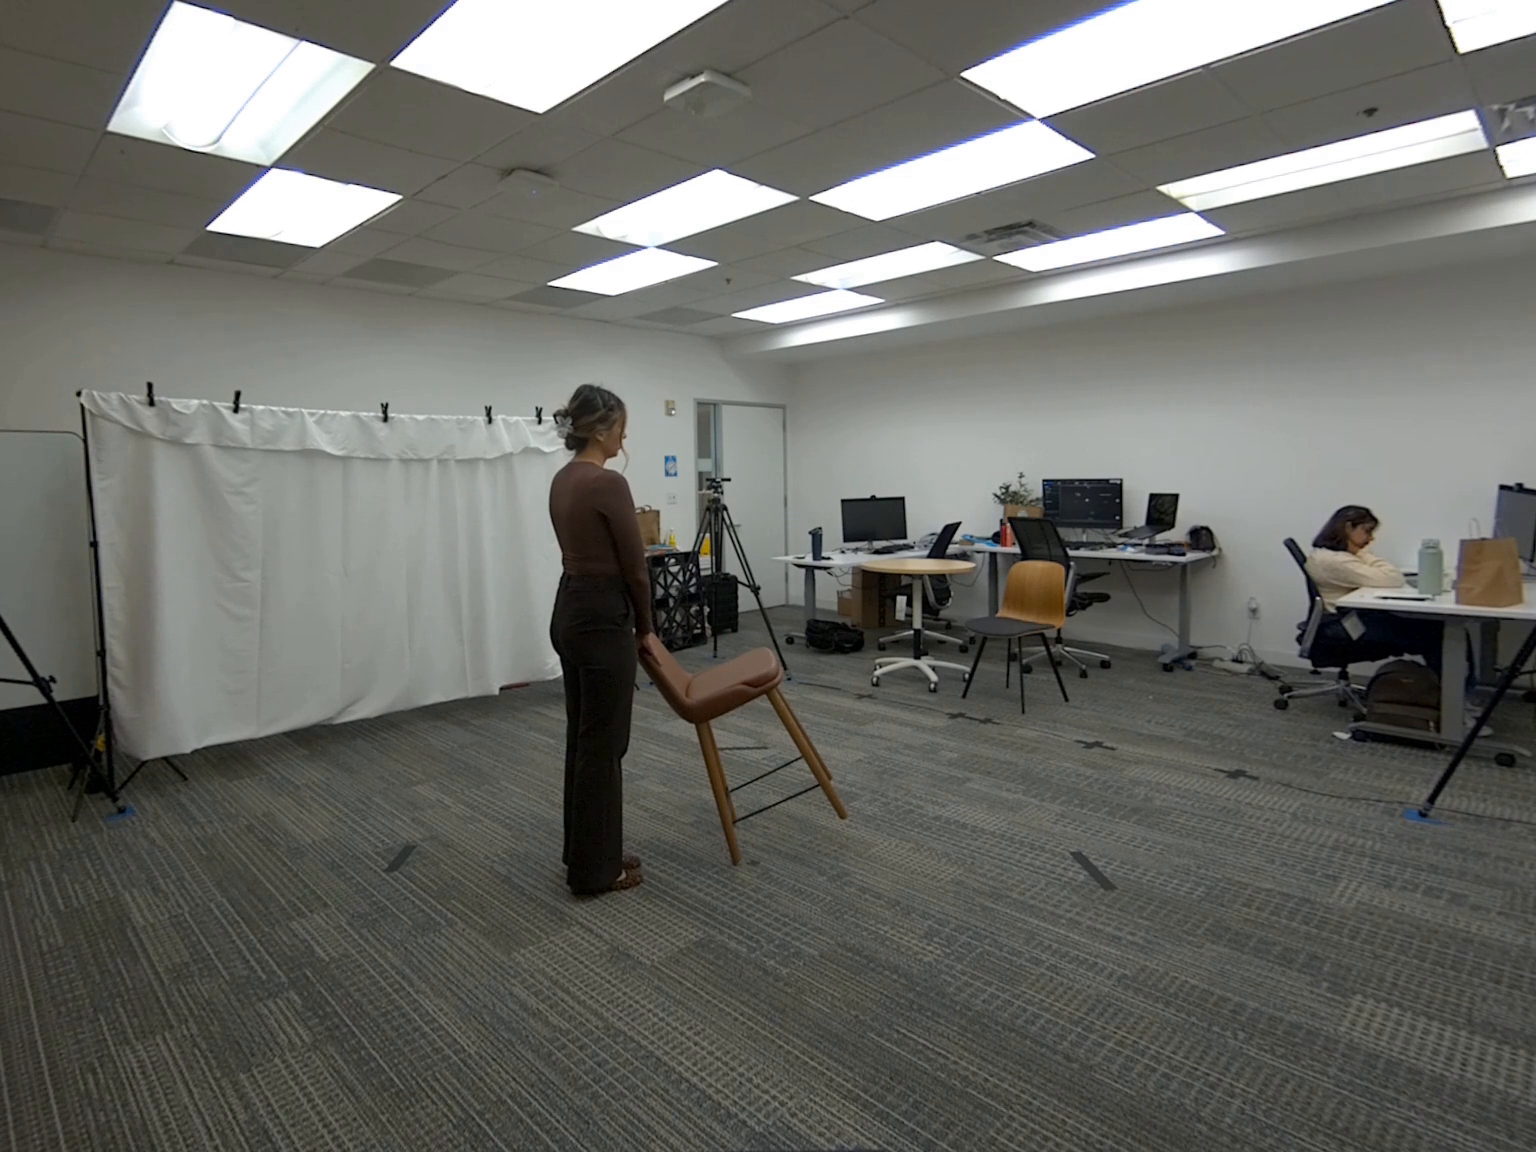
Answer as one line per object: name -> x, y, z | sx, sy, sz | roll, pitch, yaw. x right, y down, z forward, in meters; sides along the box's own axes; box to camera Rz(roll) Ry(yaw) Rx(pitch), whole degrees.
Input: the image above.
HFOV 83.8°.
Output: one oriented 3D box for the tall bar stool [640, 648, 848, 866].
tall bar stool -> -0.116, 0.544, 3.248 | 0.468, 0.886, 0.458 | -26, 4, 1
